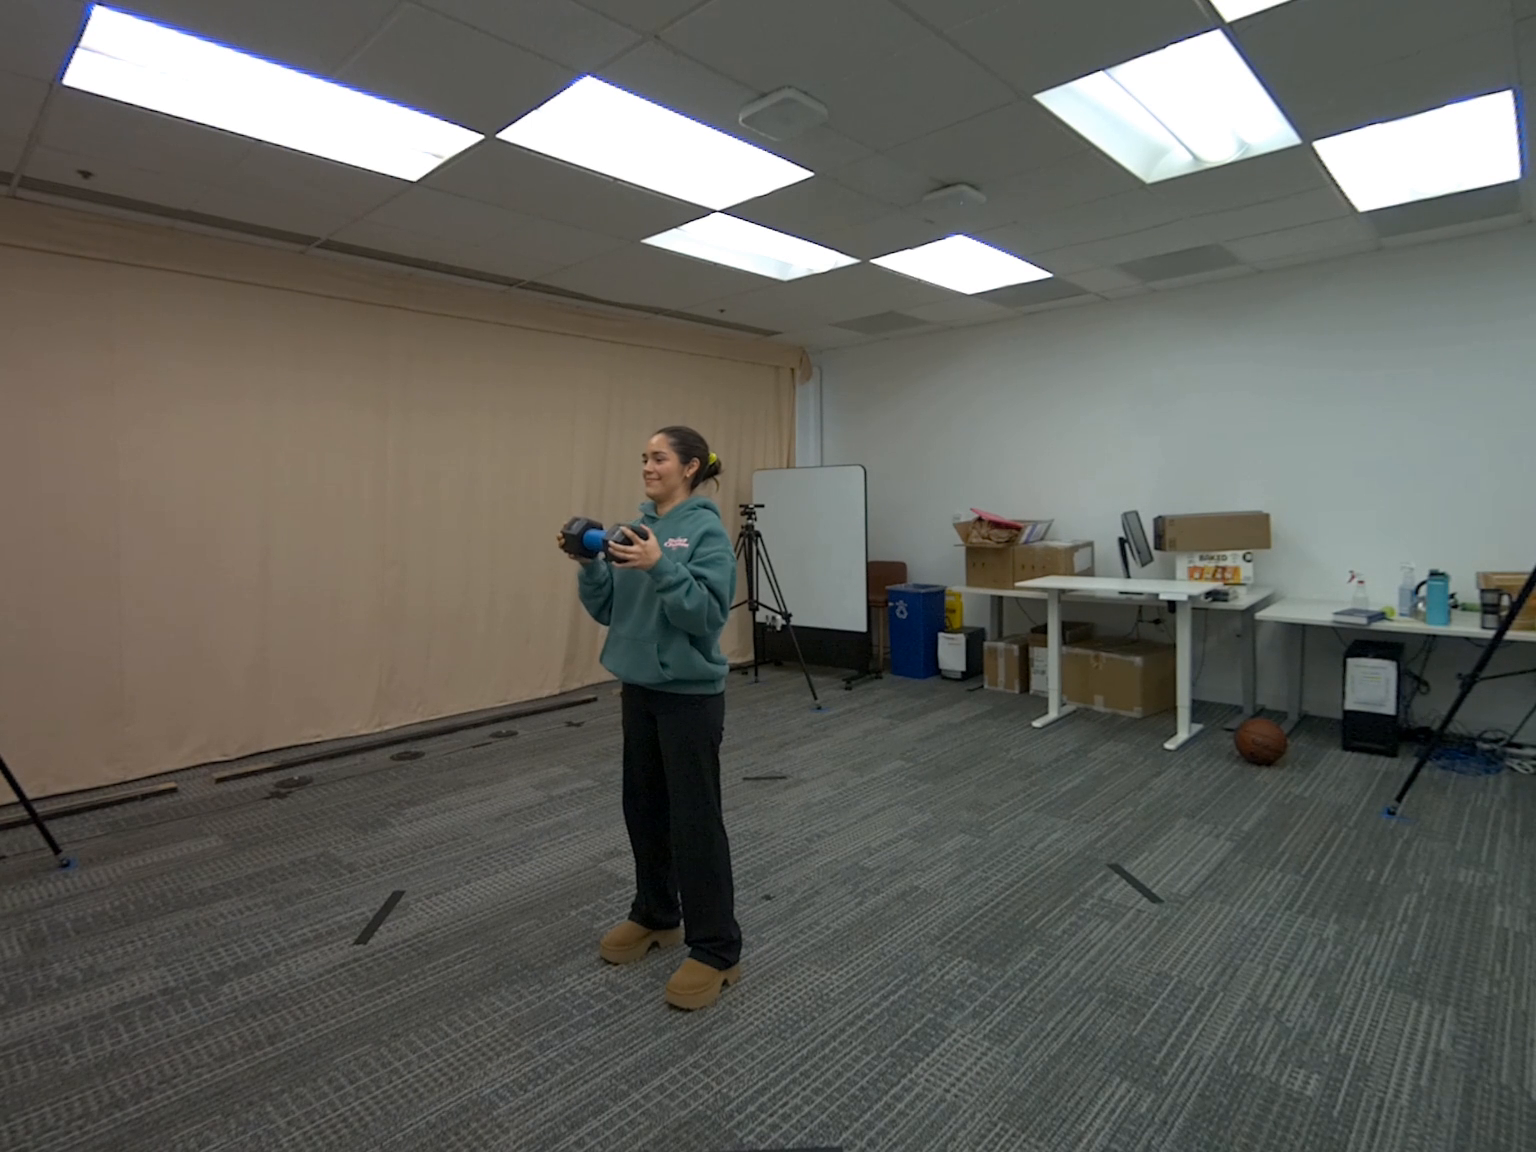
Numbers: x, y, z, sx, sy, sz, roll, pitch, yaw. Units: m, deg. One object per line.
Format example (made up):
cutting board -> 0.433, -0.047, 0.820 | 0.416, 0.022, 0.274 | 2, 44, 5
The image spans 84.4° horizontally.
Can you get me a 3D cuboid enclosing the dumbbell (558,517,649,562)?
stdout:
dumbbell -> -0.446, -0.089, 2.327 | 0.118, 0.109, 0.304 | 15, -3, -44
